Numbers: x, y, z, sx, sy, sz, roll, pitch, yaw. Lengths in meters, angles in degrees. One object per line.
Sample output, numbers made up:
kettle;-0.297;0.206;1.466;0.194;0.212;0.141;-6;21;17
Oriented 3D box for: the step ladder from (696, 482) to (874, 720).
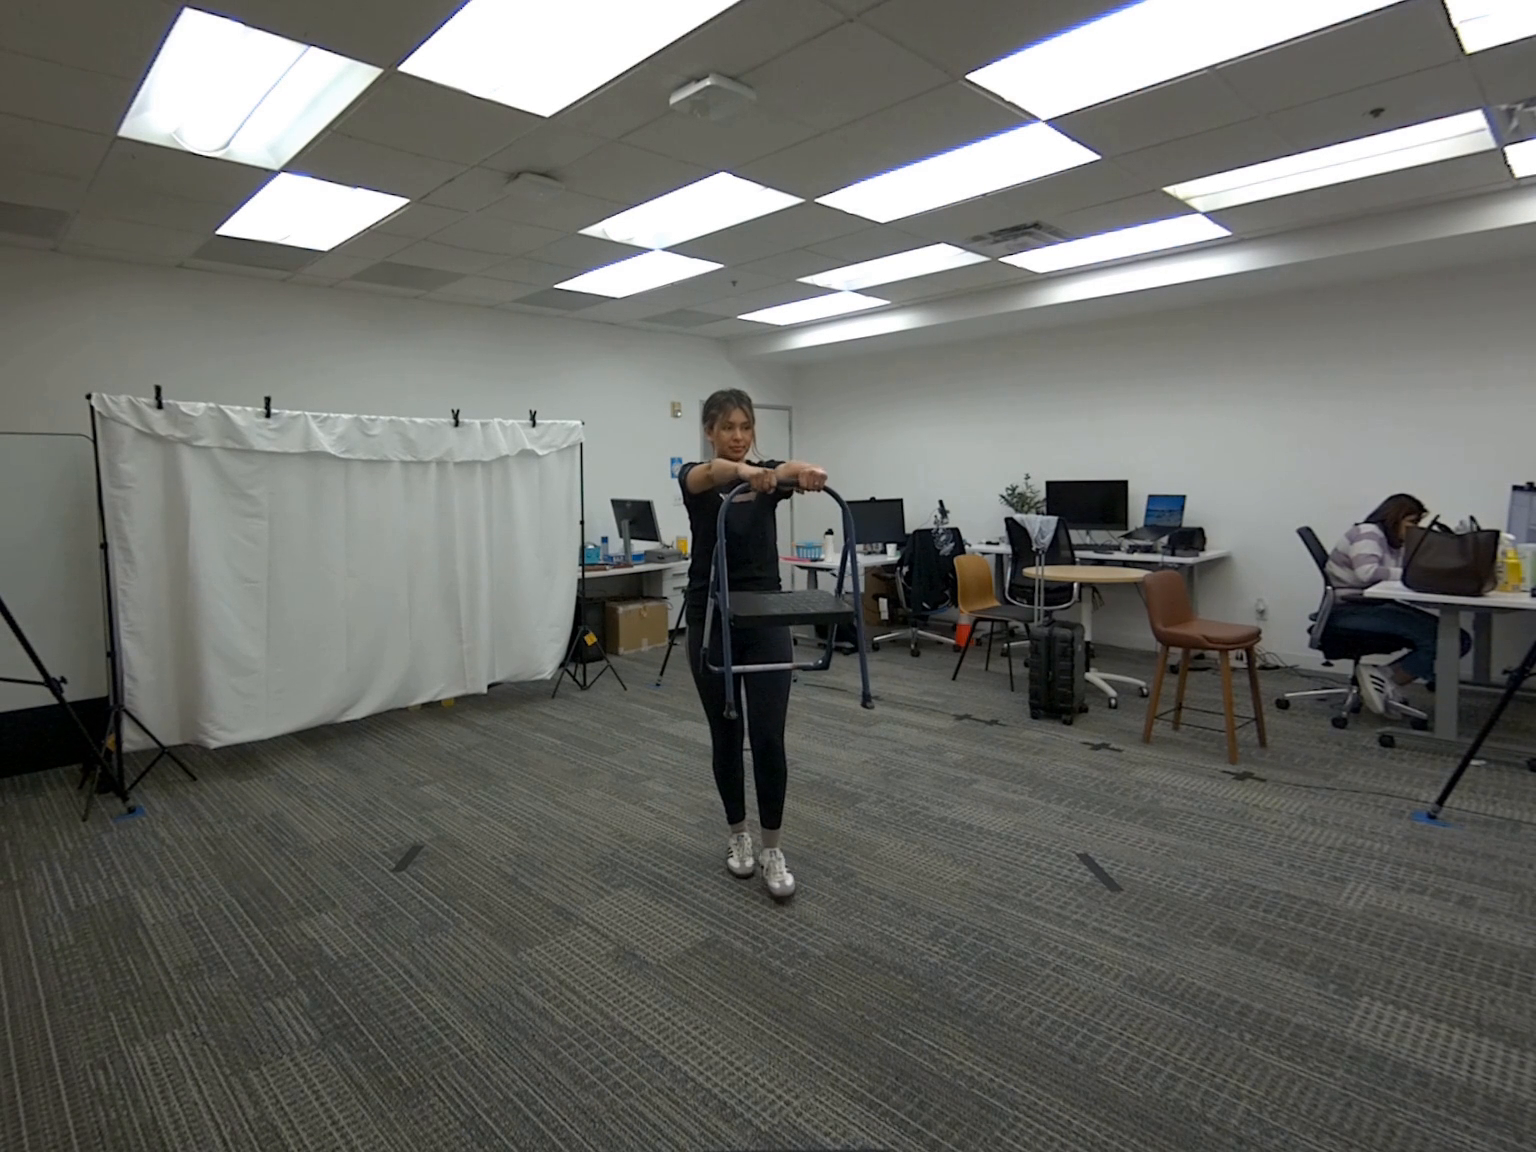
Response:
step ladder;0.056;0.040;2.422;0.424;0.601;0.358;-2;10;-17
